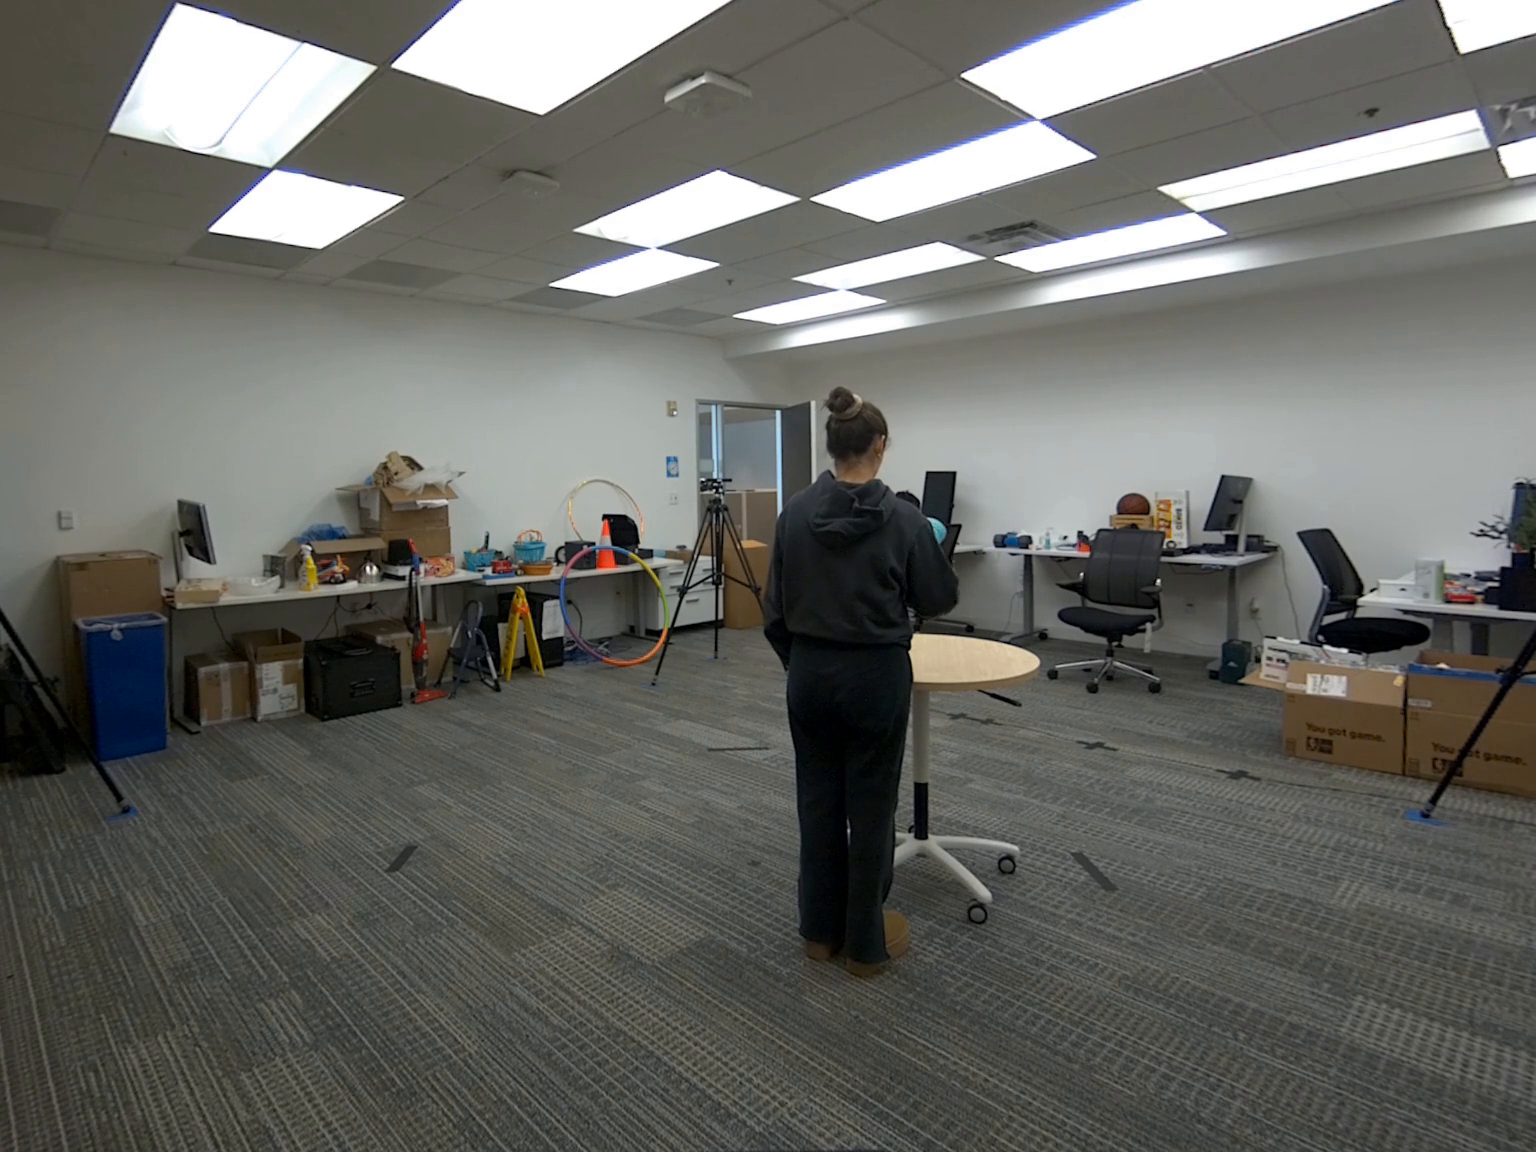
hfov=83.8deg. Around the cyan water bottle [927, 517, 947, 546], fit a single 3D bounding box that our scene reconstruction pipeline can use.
[{"bbox_3d":[0.482,-0.047,2.720,0.095,0.284,0.089,4,-39,50],"label":"cyan water bottle"}]
